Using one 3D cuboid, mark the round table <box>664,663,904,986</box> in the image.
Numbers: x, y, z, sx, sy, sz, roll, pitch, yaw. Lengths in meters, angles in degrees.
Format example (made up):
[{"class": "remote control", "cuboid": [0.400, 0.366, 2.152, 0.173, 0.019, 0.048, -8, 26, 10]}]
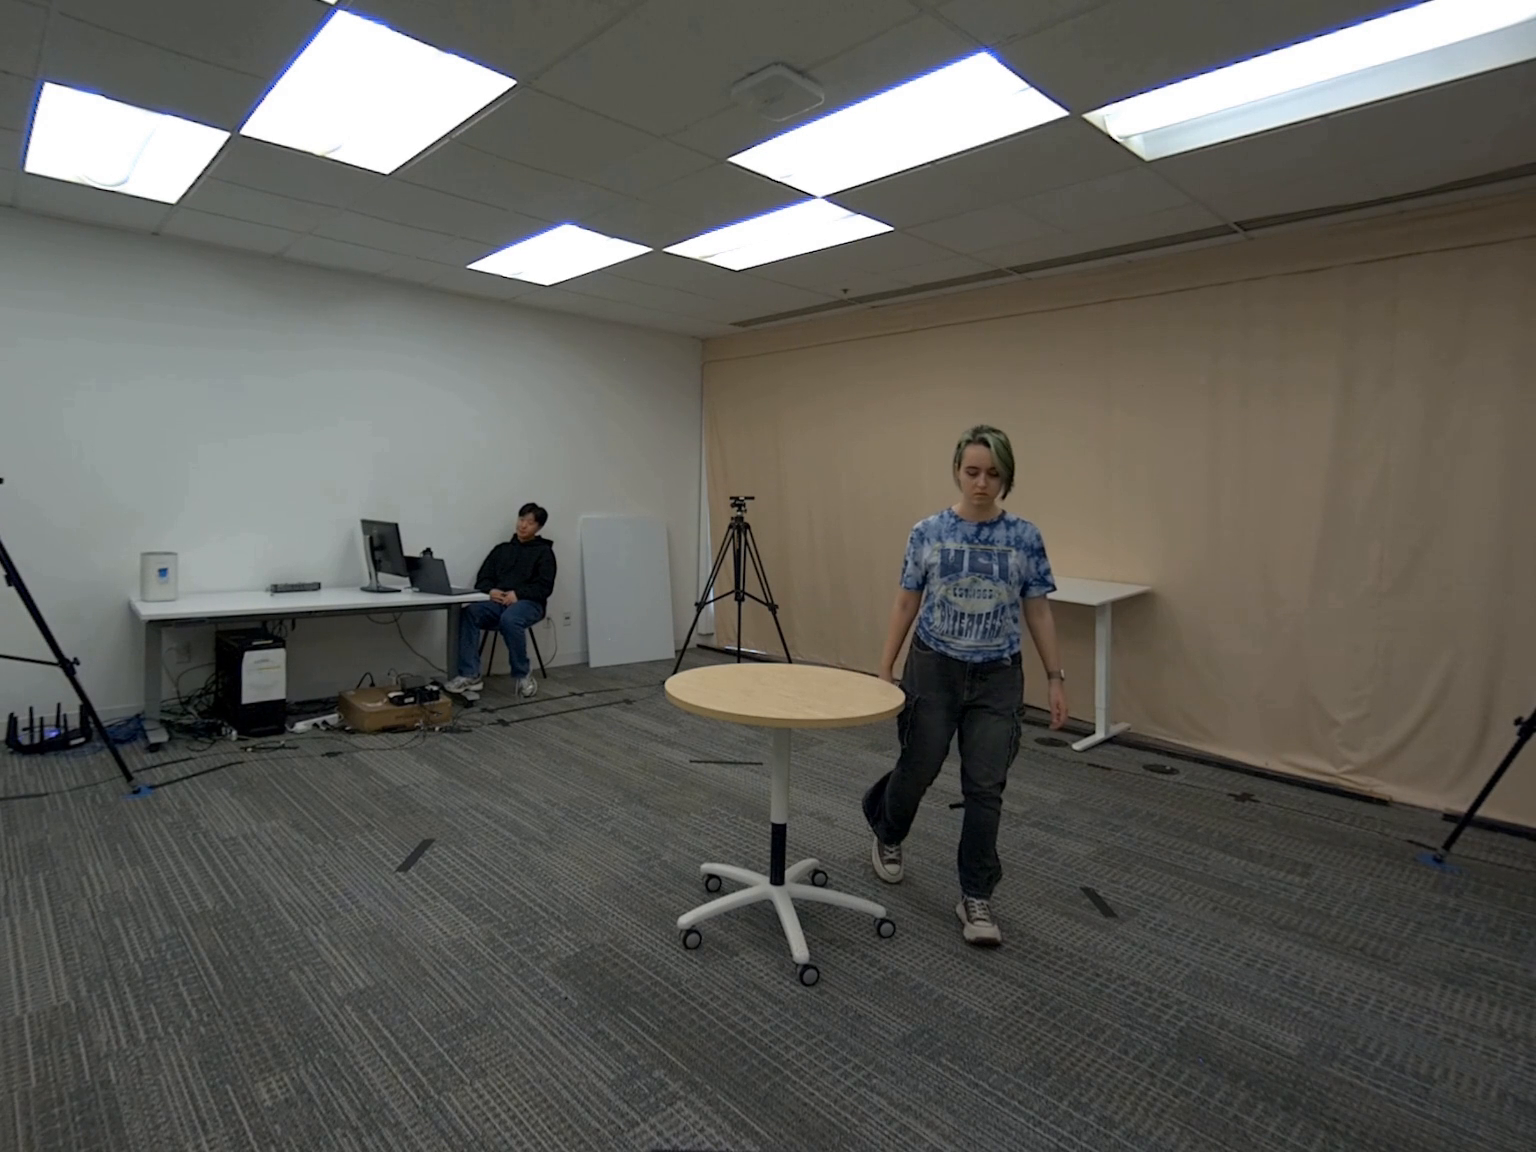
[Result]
[{"class": "round table", "cuboid": [0.032, 0.751, 2.728, 0.763, 0.792, 0.767, 2, 4, -2]}]
